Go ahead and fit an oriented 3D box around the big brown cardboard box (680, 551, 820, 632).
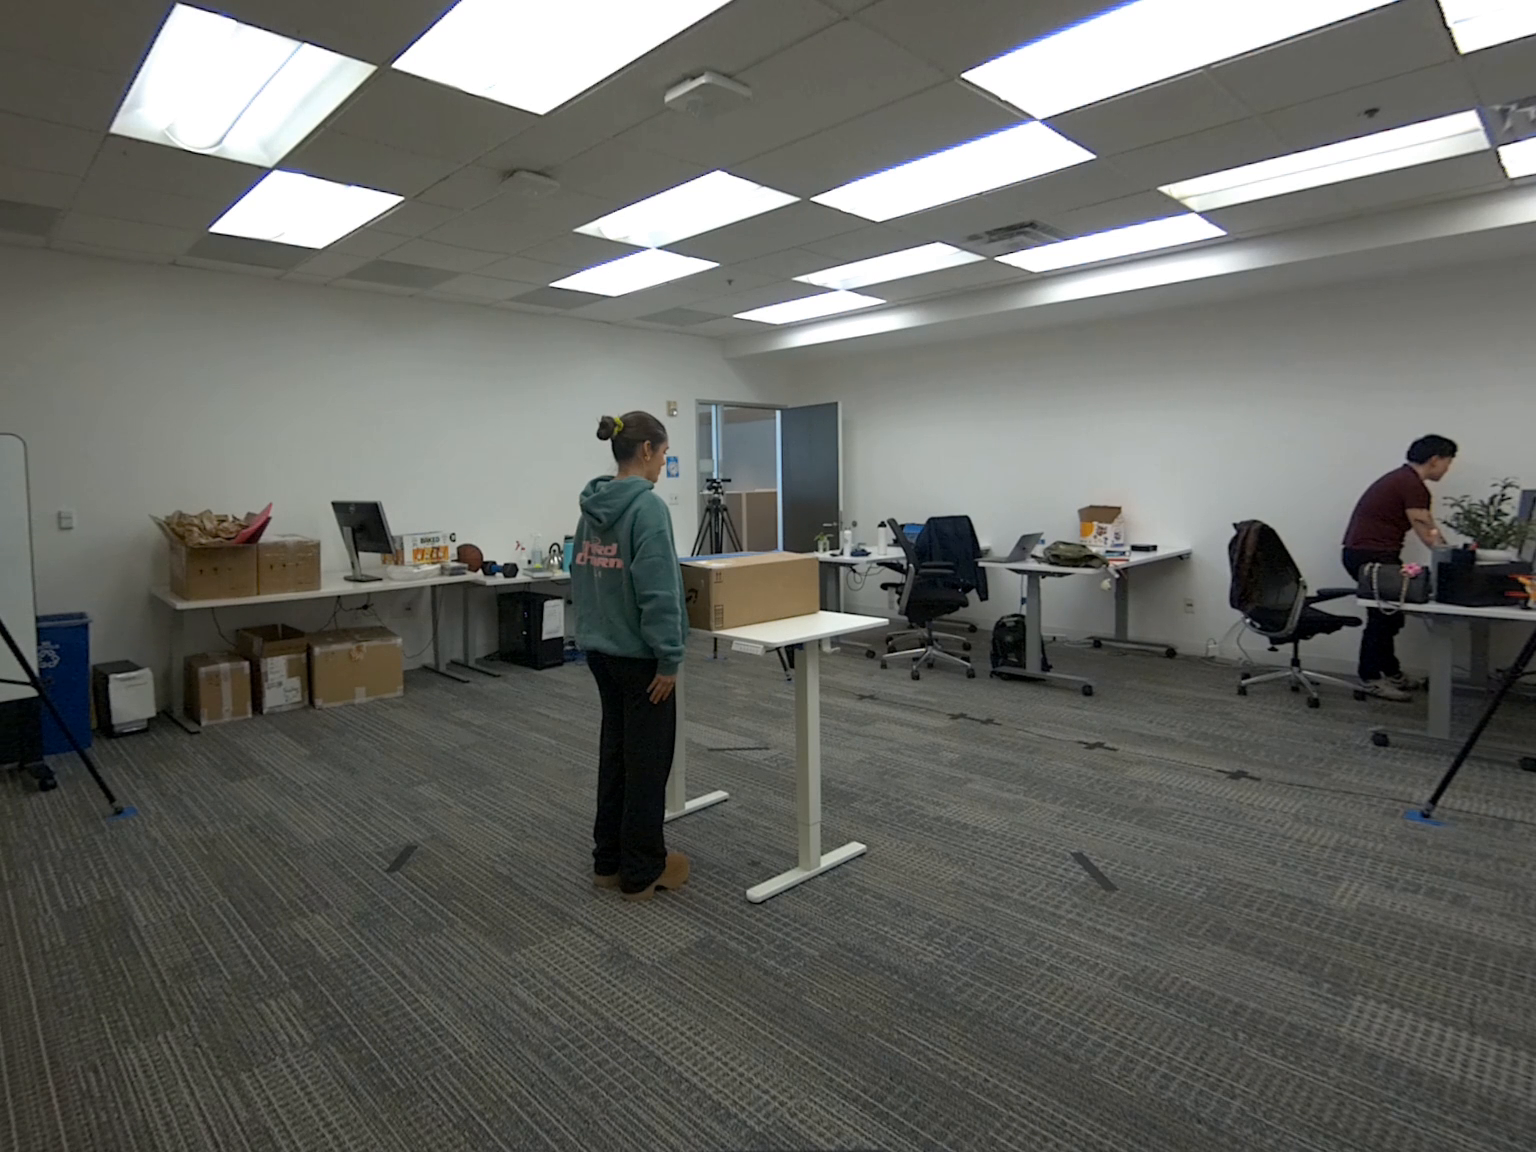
[{"bbox_3d":[-0.145,0.041,3.214,0.430,0.232,0.573,4,7,45],"label":"big brown cardboard box"}]
